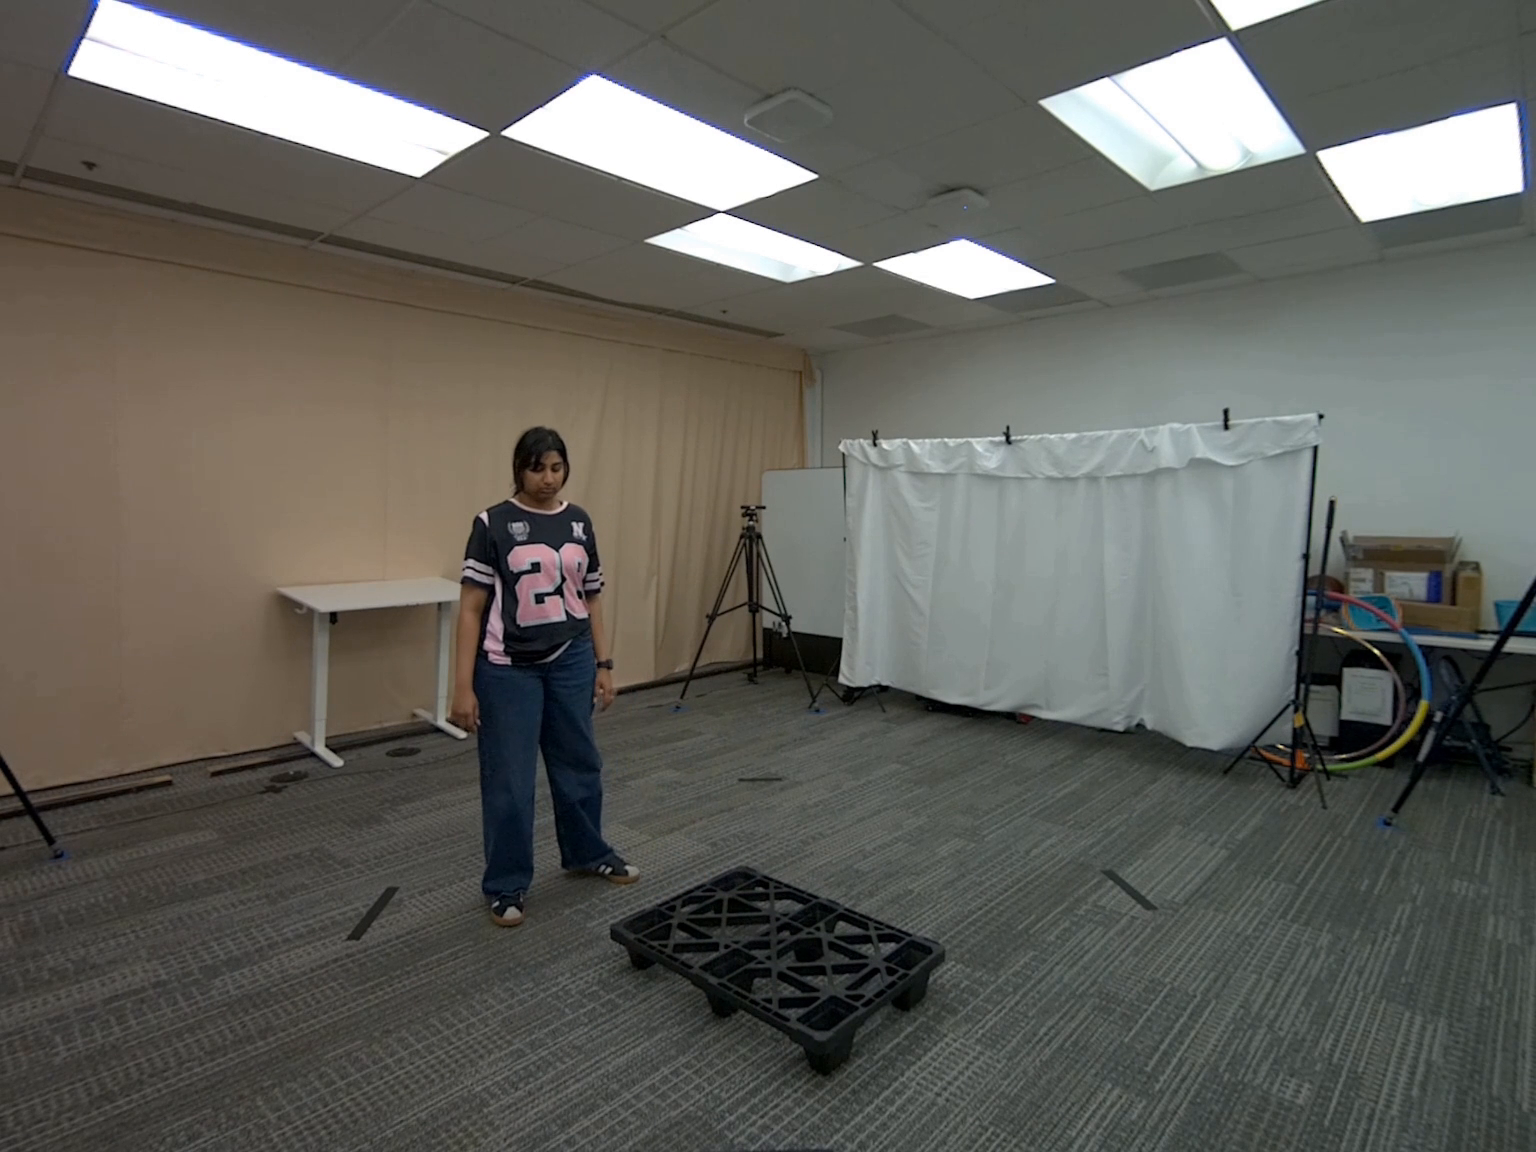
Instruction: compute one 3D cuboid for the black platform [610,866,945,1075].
[{"bbox_3d":[0.019,1.121,2.471,0.832,0.143,0.586,5,6,42],"label":"black platform"}]
